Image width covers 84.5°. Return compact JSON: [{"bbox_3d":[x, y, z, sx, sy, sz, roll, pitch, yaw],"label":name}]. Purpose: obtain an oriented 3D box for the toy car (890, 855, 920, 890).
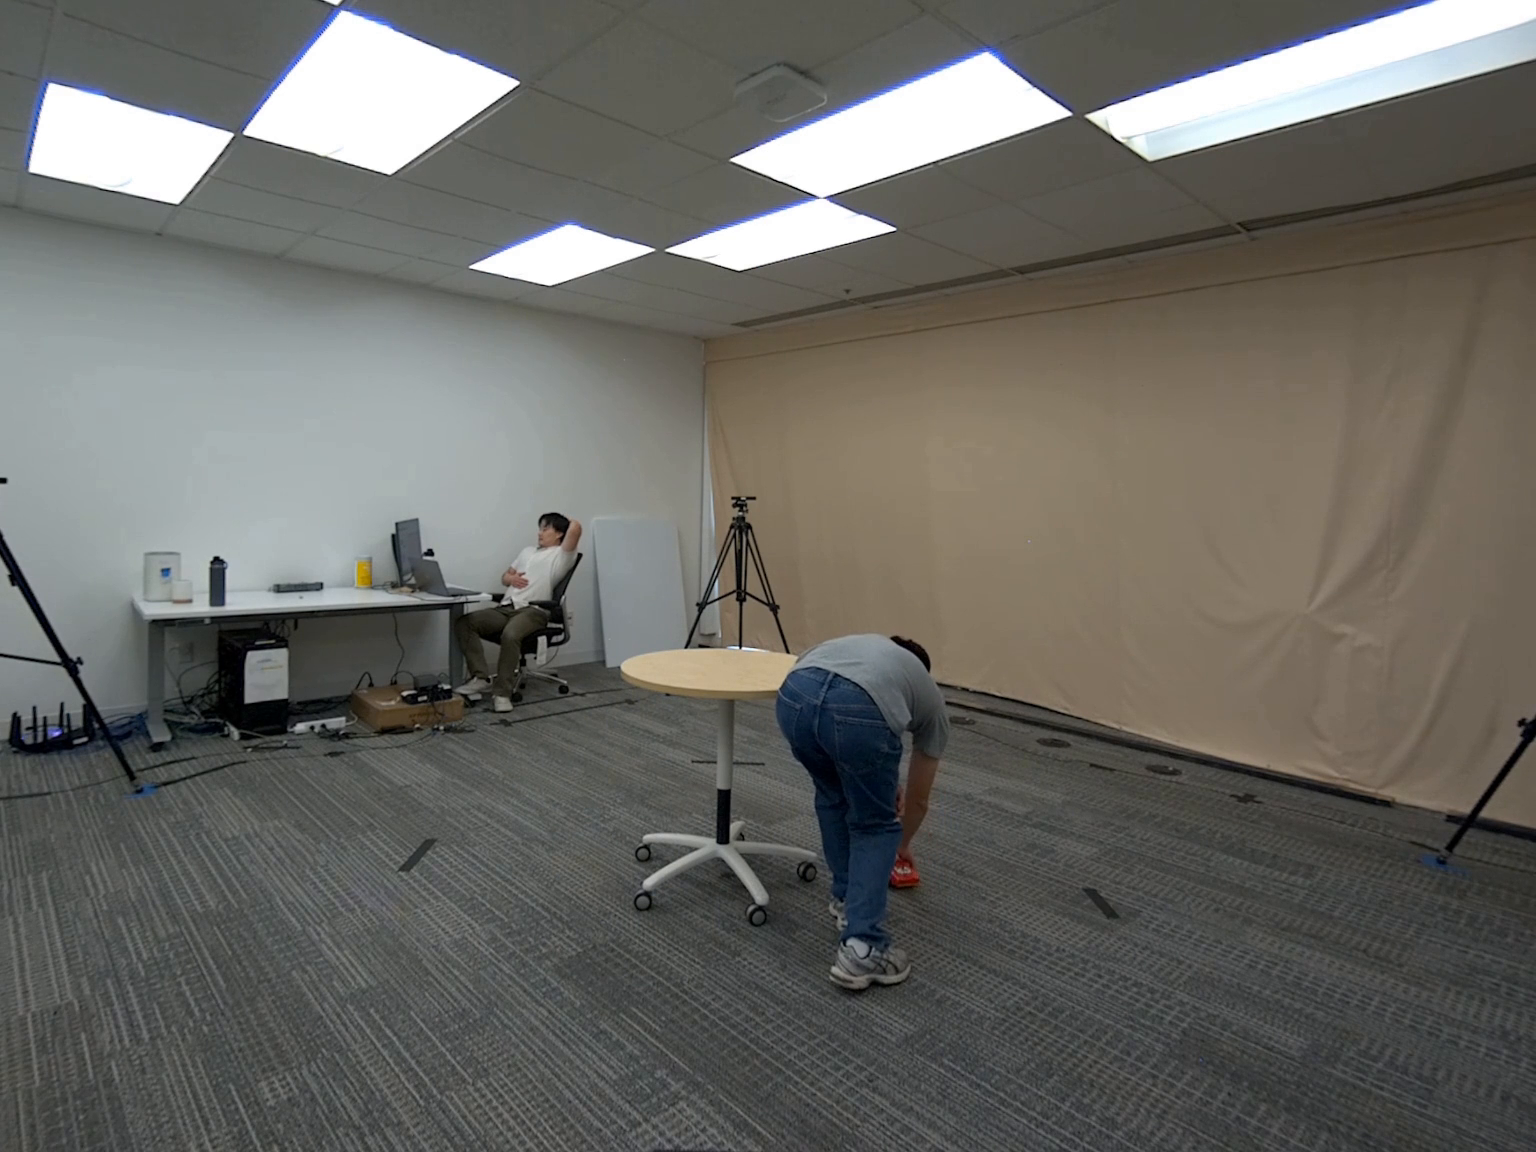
[{"bbox_3d":[0.470,1.093,3.102,0.129,0.083,0.256,-1,-5,-17],"label":"toy car"}]
